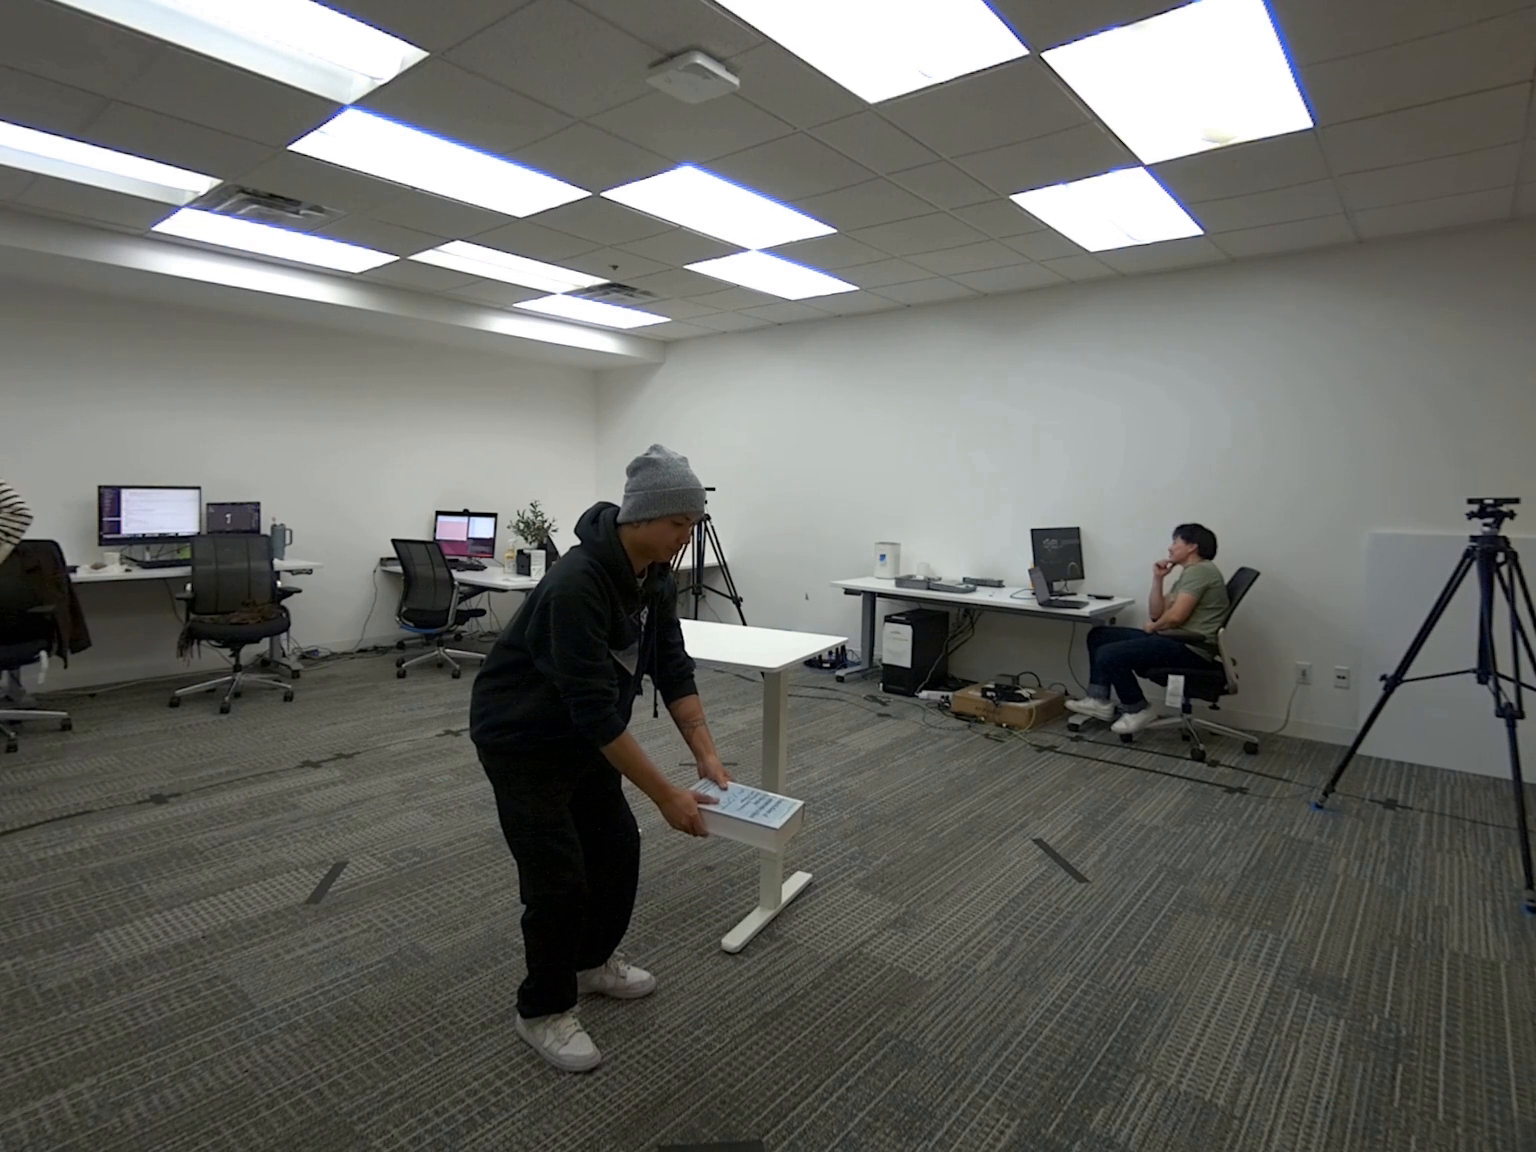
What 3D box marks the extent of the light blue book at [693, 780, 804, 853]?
[{"bbox_3d":[-0.071,0.554,1.990,0.268,0.059,0.187,8,8,23],"label":"light blue book"}]
